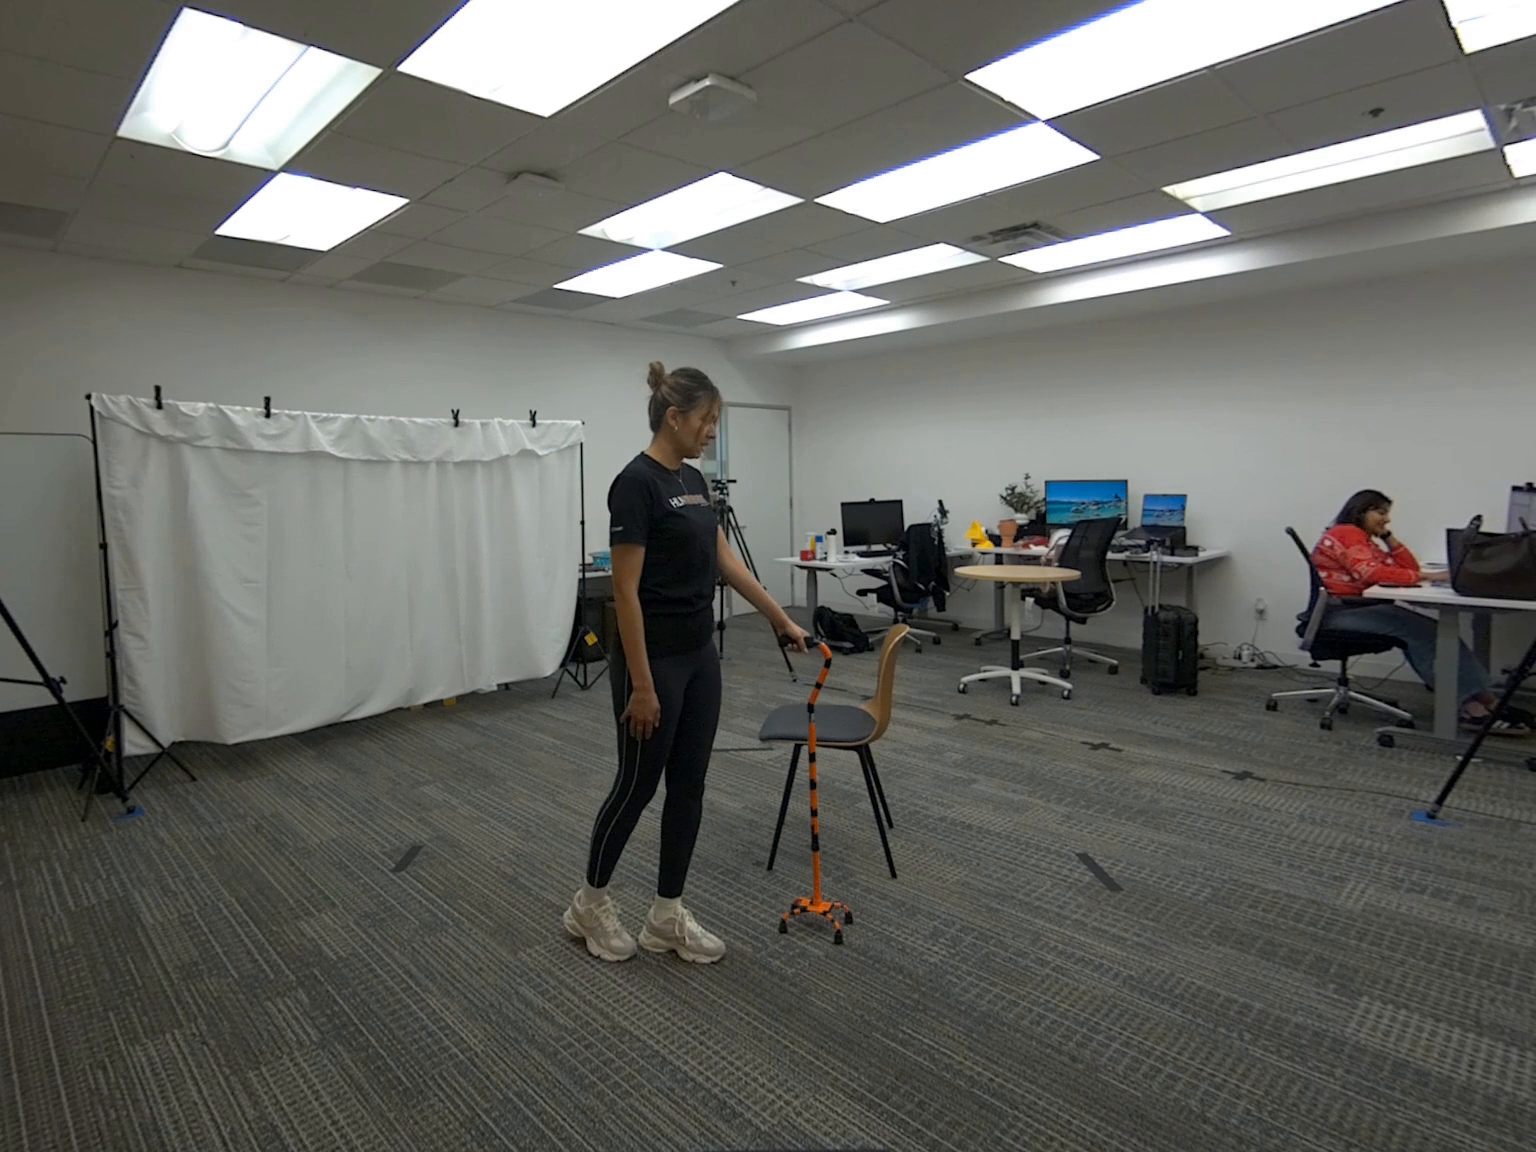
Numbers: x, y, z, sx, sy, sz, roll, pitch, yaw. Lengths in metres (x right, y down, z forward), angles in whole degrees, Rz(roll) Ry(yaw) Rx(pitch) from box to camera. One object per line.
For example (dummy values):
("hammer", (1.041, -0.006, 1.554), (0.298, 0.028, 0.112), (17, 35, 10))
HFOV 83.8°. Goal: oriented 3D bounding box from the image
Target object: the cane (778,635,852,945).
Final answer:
("cane", (0.139, 0.642, 2.634), (0.210, 0.905, 0.149), (0, 4, 21))
